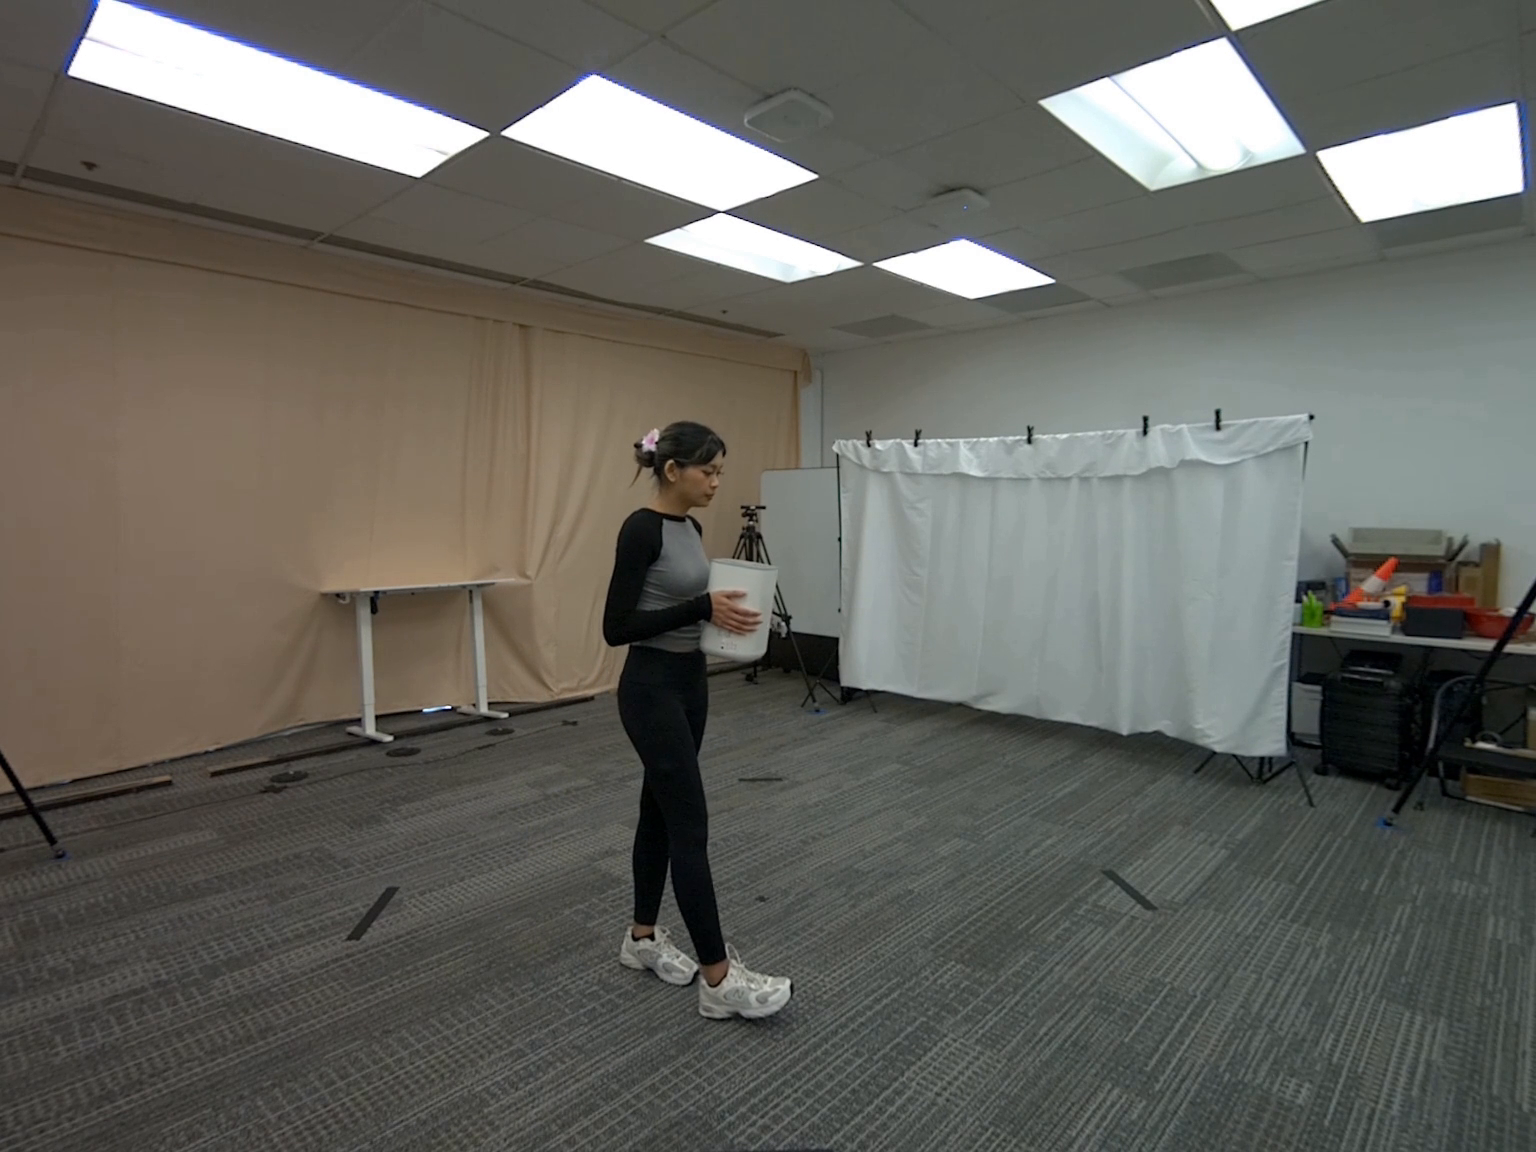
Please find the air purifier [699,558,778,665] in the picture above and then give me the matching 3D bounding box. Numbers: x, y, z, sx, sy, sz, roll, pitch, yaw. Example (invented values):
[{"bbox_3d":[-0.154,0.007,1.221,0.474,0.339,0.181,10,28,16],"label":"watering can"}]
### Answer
[{"bbox_3d":[-0.079,0.097,2.347,0.174,0.265,0.169,9,5,16],"label":"air purifier"}]
